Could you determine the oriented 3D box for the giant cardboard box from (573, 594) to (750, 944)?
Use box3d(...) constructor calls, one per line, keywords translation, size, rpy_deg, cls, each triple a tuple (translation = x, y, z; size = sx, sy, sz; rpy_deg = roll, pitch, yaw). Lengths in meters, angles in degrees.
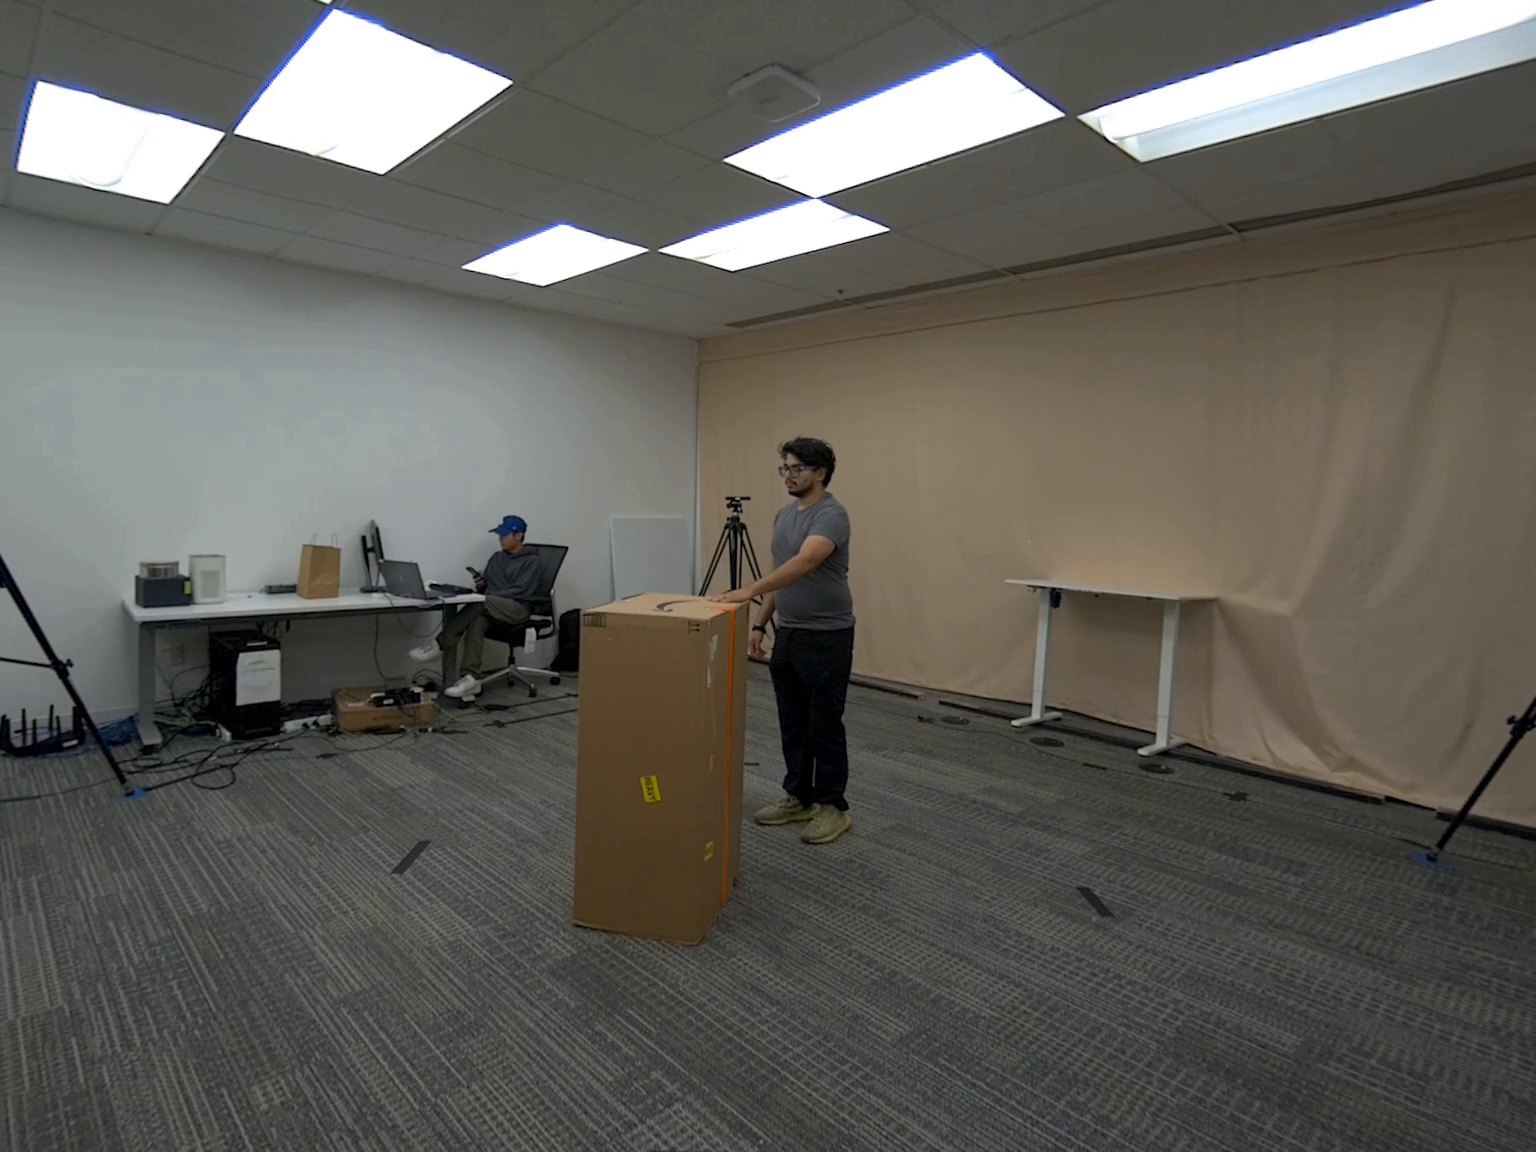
box3d(translation=(-0.349, 0.609, 2.909), size=(0.431, 1.024, 0.572), rpy_deg=(3, 3, 13), cls="giant cardboard box")
